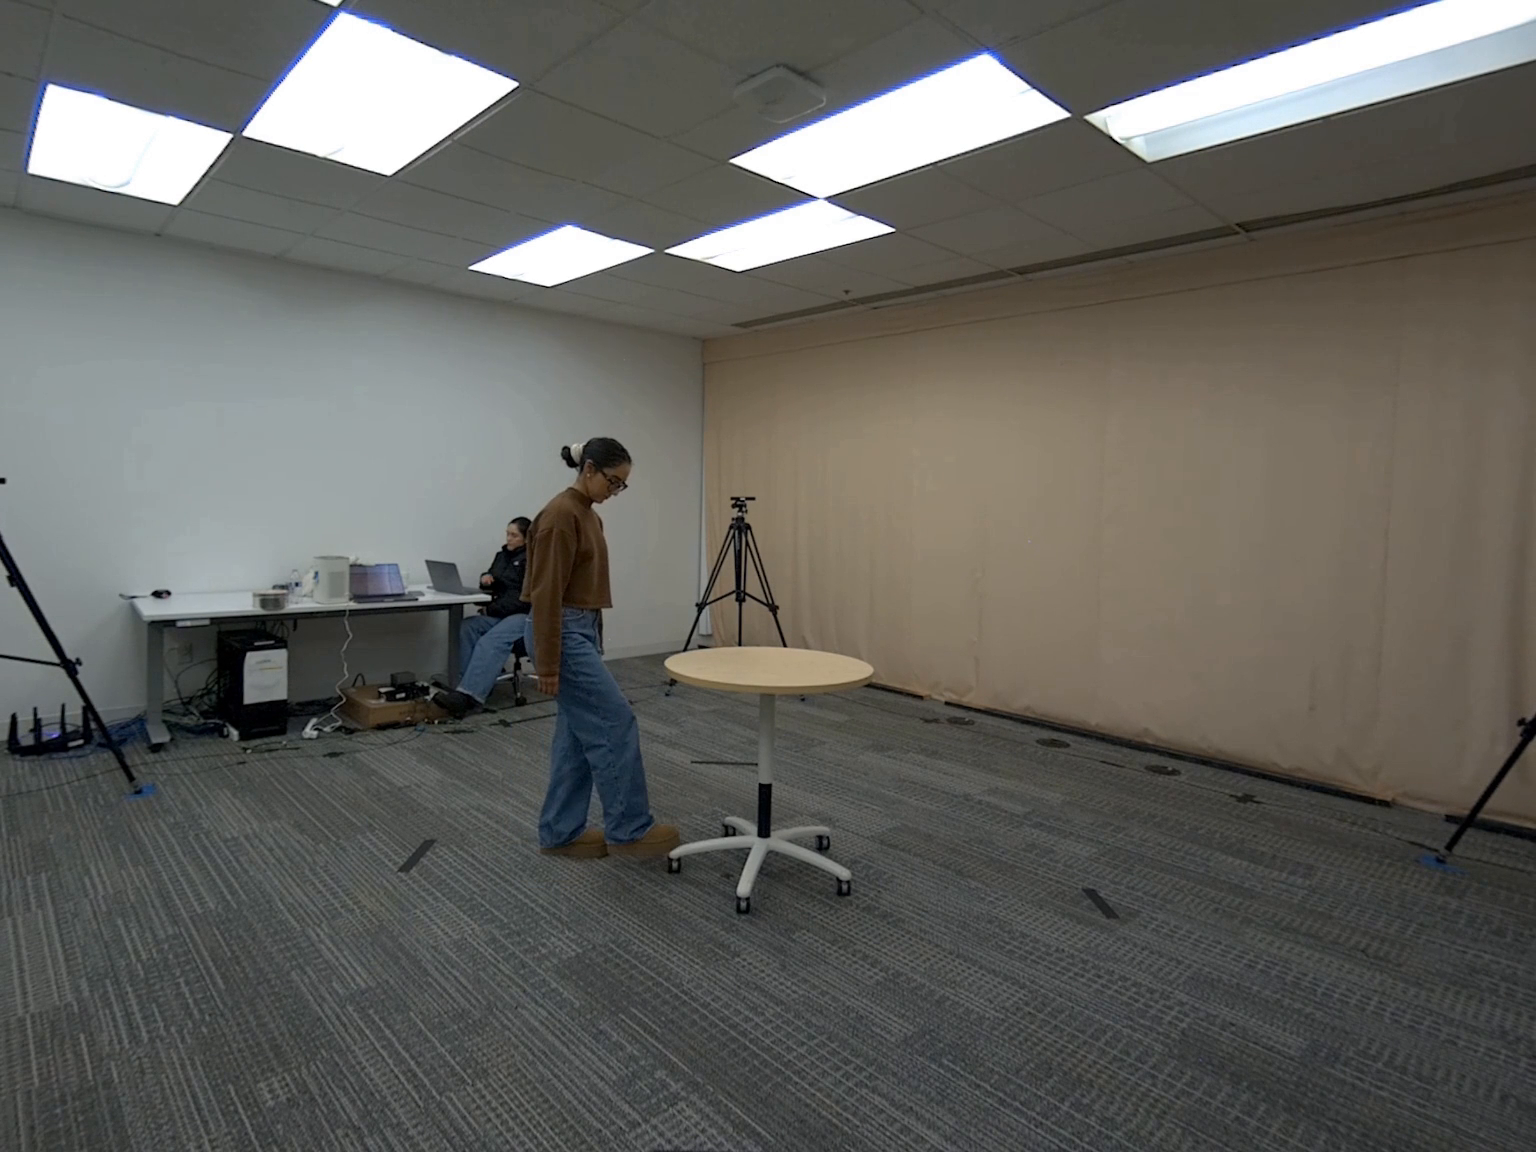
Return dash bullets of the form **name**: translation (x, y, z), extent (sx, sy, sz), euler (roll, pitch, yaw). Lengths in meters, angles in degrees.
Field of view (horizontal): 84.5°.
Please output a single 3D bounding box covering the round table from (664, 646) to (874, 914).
- **round table**: translation (-0.018, 0.717, 3.123), extent (0.763, 0.792, 0.766), euler (1, 4, -1)
